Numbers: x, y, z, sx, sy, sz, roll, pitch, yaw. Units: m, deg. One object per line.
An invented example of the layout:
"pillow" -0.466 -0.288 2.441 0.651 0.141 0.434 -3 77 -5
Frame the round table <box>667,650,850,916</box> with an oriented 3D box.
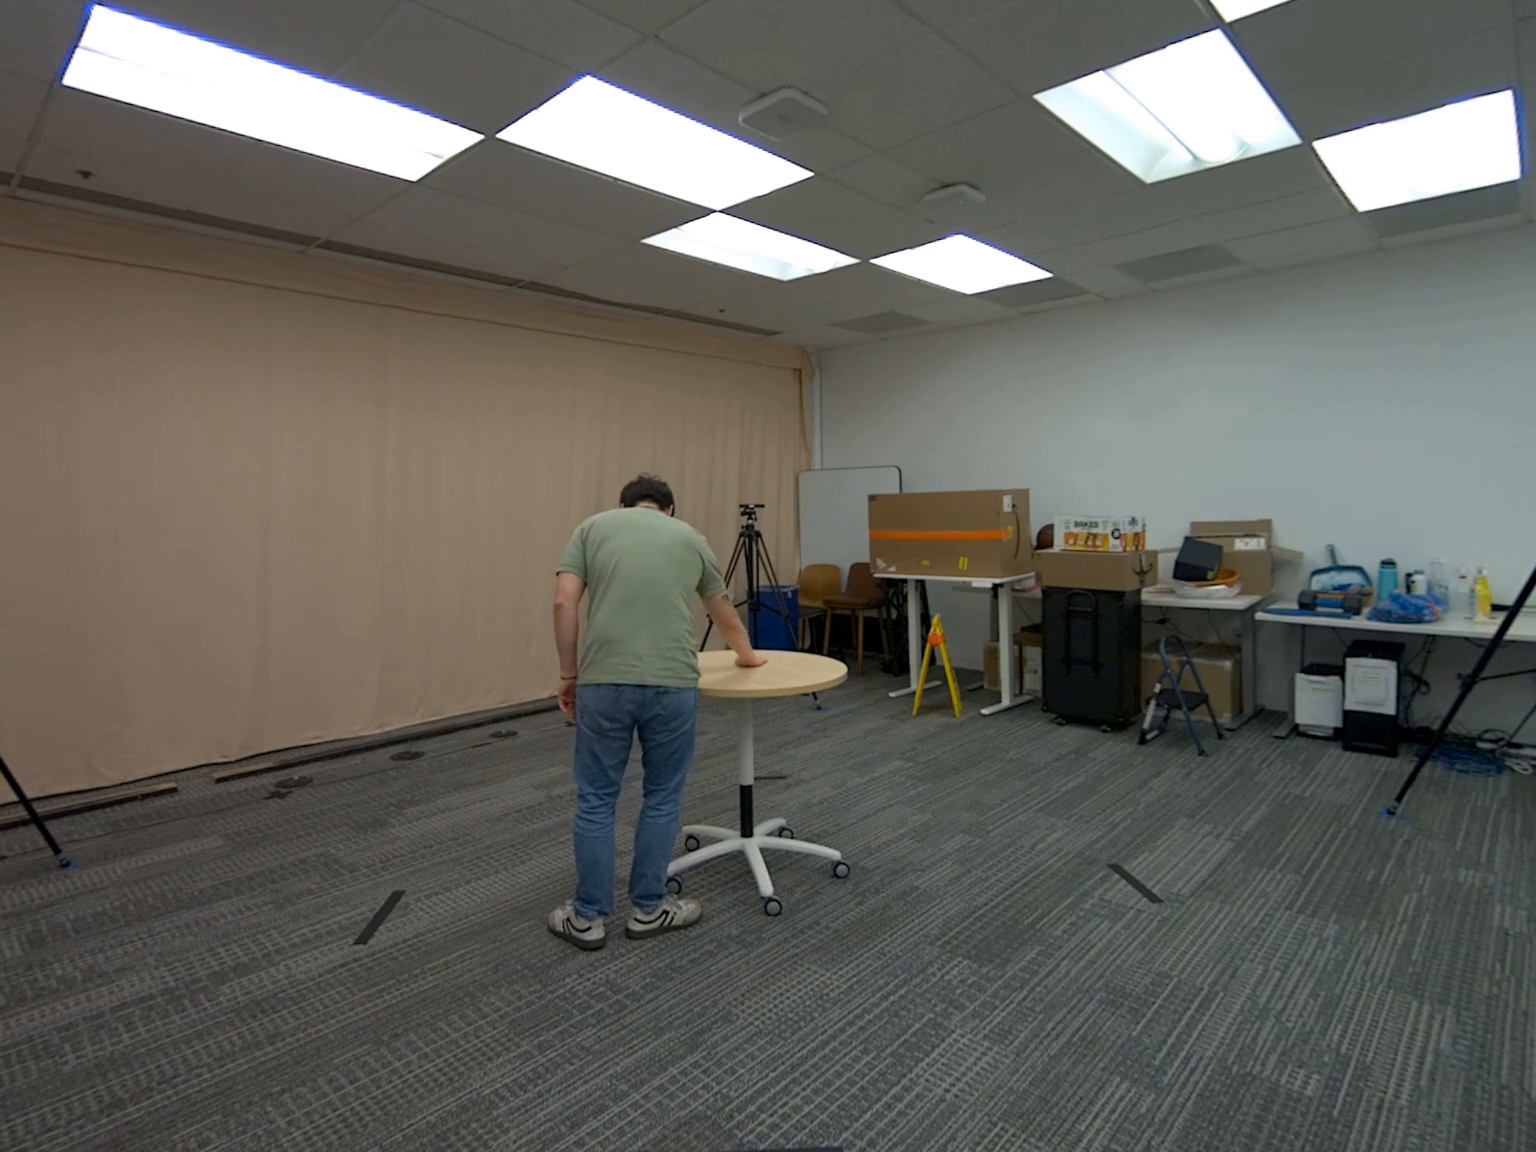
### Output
"round table" -0.079 0.735 3.171 0.763 0.792 0.767 -1 4 -2
